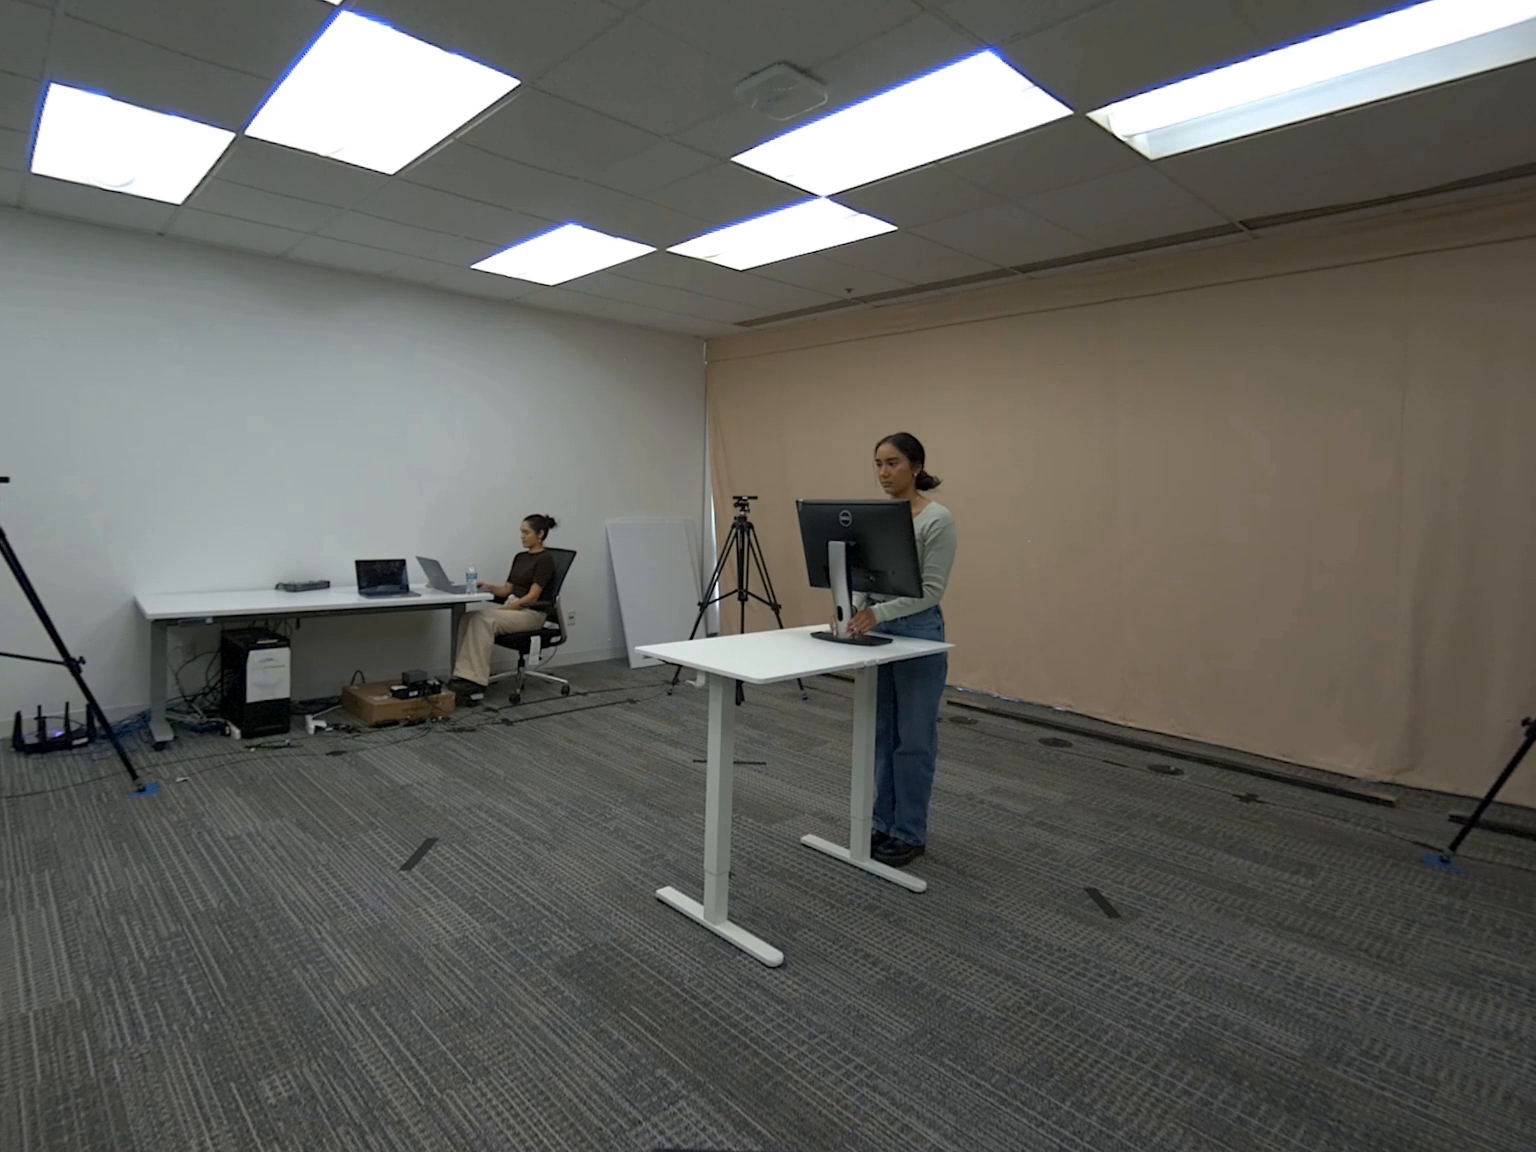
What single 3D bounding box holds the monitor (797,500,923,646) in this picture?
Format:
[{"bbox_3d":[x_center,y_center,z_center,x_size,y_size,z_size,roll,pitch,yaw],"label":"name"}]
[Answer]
[{"bbox_3d":[0.291,-0.016,3.064,0.183,0.520,0.553,-6,7,-43],"label":"monitor"}]
